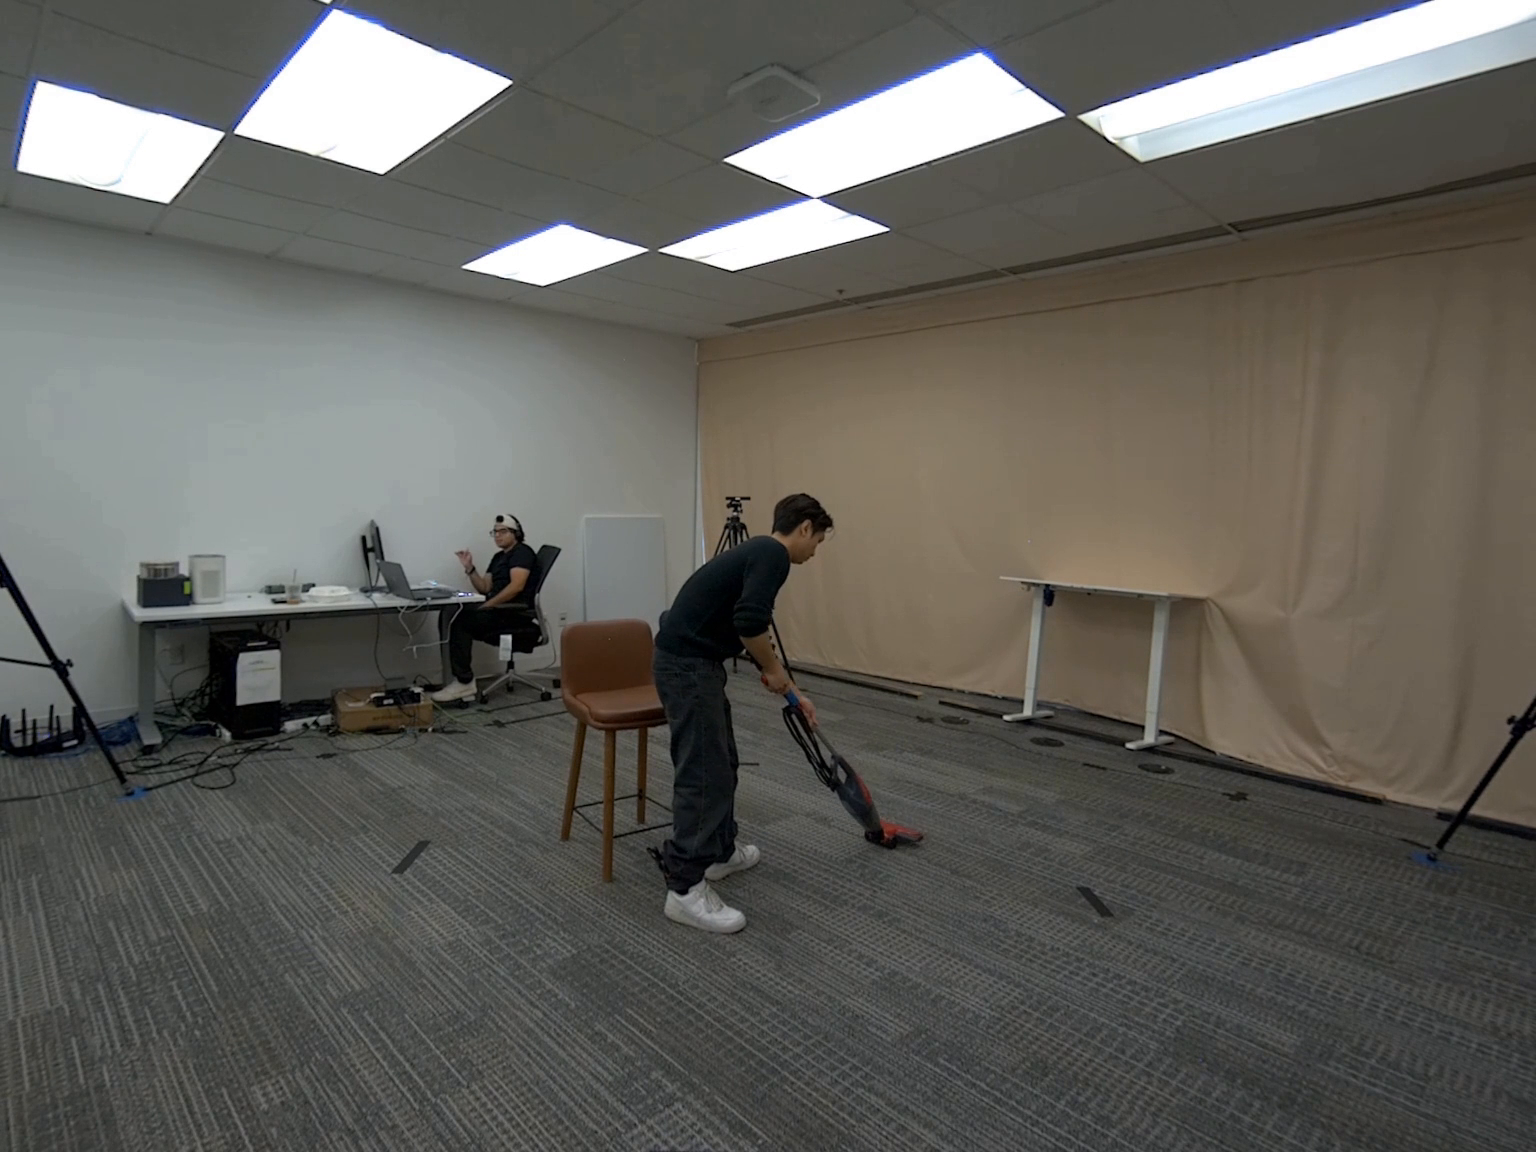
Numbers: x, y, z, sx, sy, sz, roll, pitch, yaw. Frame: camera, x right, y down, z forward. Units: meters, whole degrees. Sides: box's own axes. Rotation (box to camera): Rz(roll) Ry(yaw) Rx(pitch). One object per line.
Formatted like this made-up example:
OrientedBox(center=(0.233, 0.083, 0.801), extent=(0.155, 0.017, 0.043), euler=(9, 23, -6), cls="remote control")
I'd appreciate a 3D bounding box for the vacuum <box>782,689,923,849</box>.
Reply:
OrientedBox(center=(0.235, 0.720, 3.211), extent=(0.259, 0.144, 1.020), euler=(1, -43, 46), cls="vacuum")
